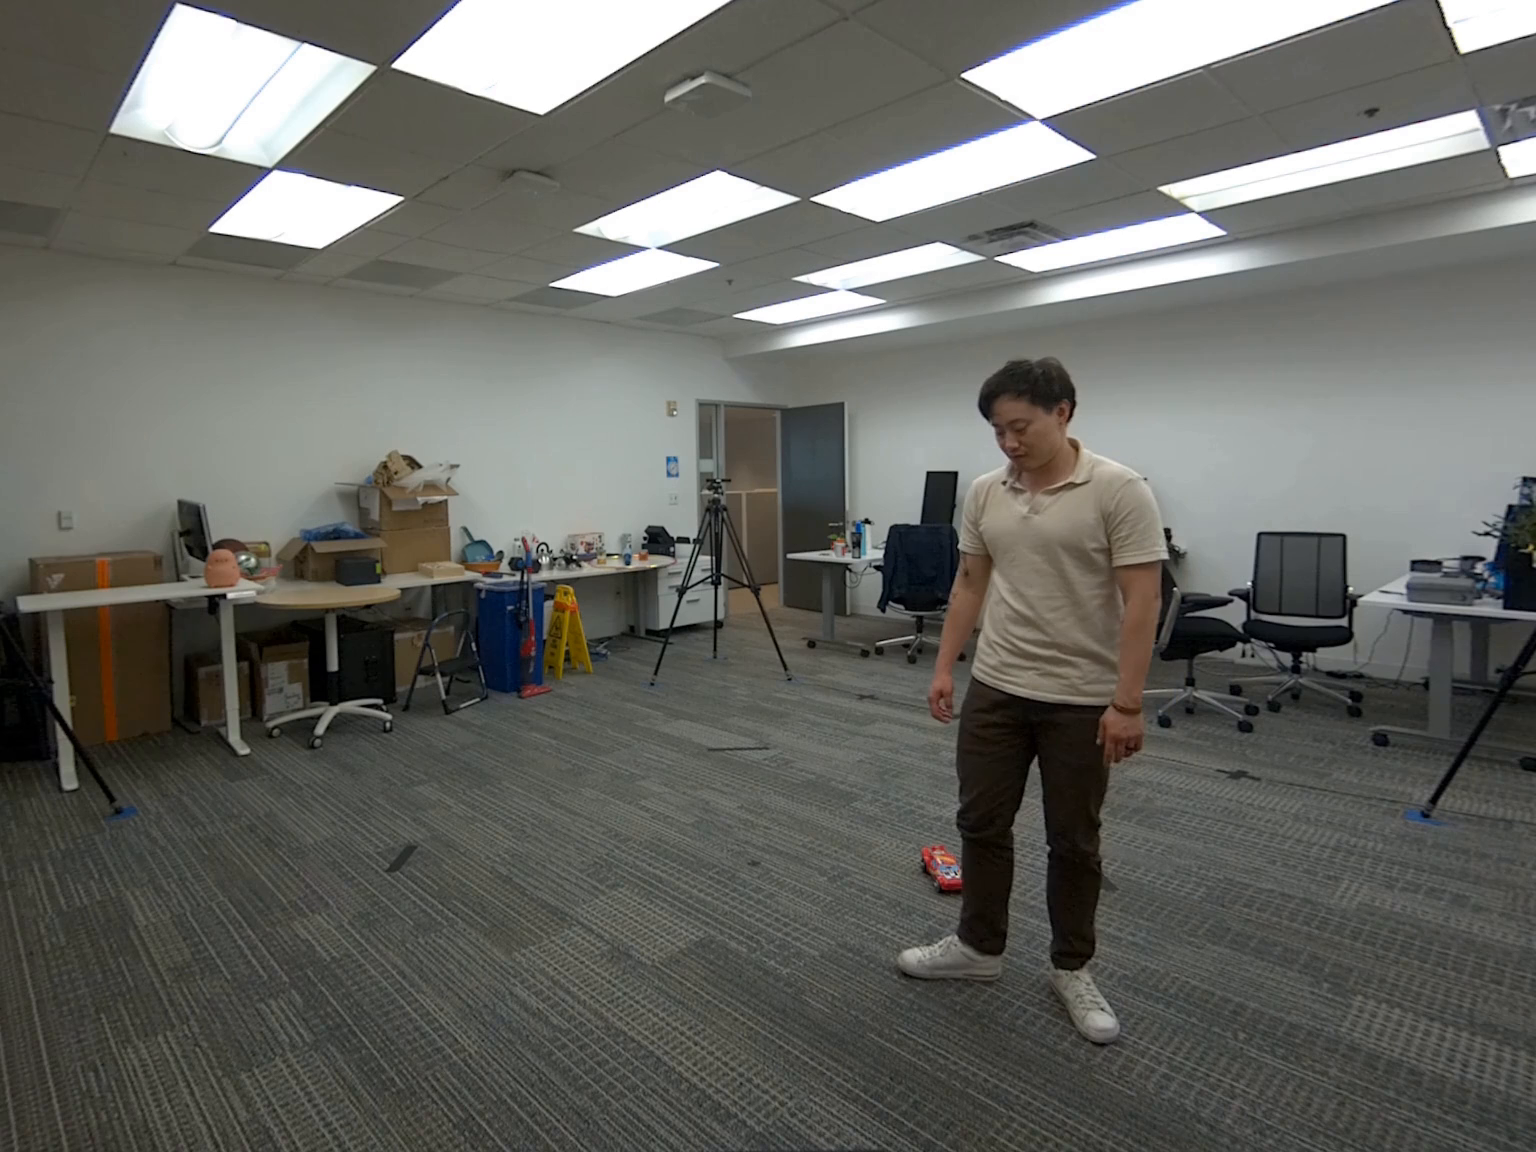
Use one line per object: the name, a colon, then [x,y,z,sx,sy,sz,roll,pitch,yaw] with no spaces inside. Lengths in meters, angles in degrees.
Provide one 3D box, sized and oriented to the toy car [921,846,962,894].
toy car: [0.614,1.017,2.961,0.129,0.082,0.259,-2,17,-6]
